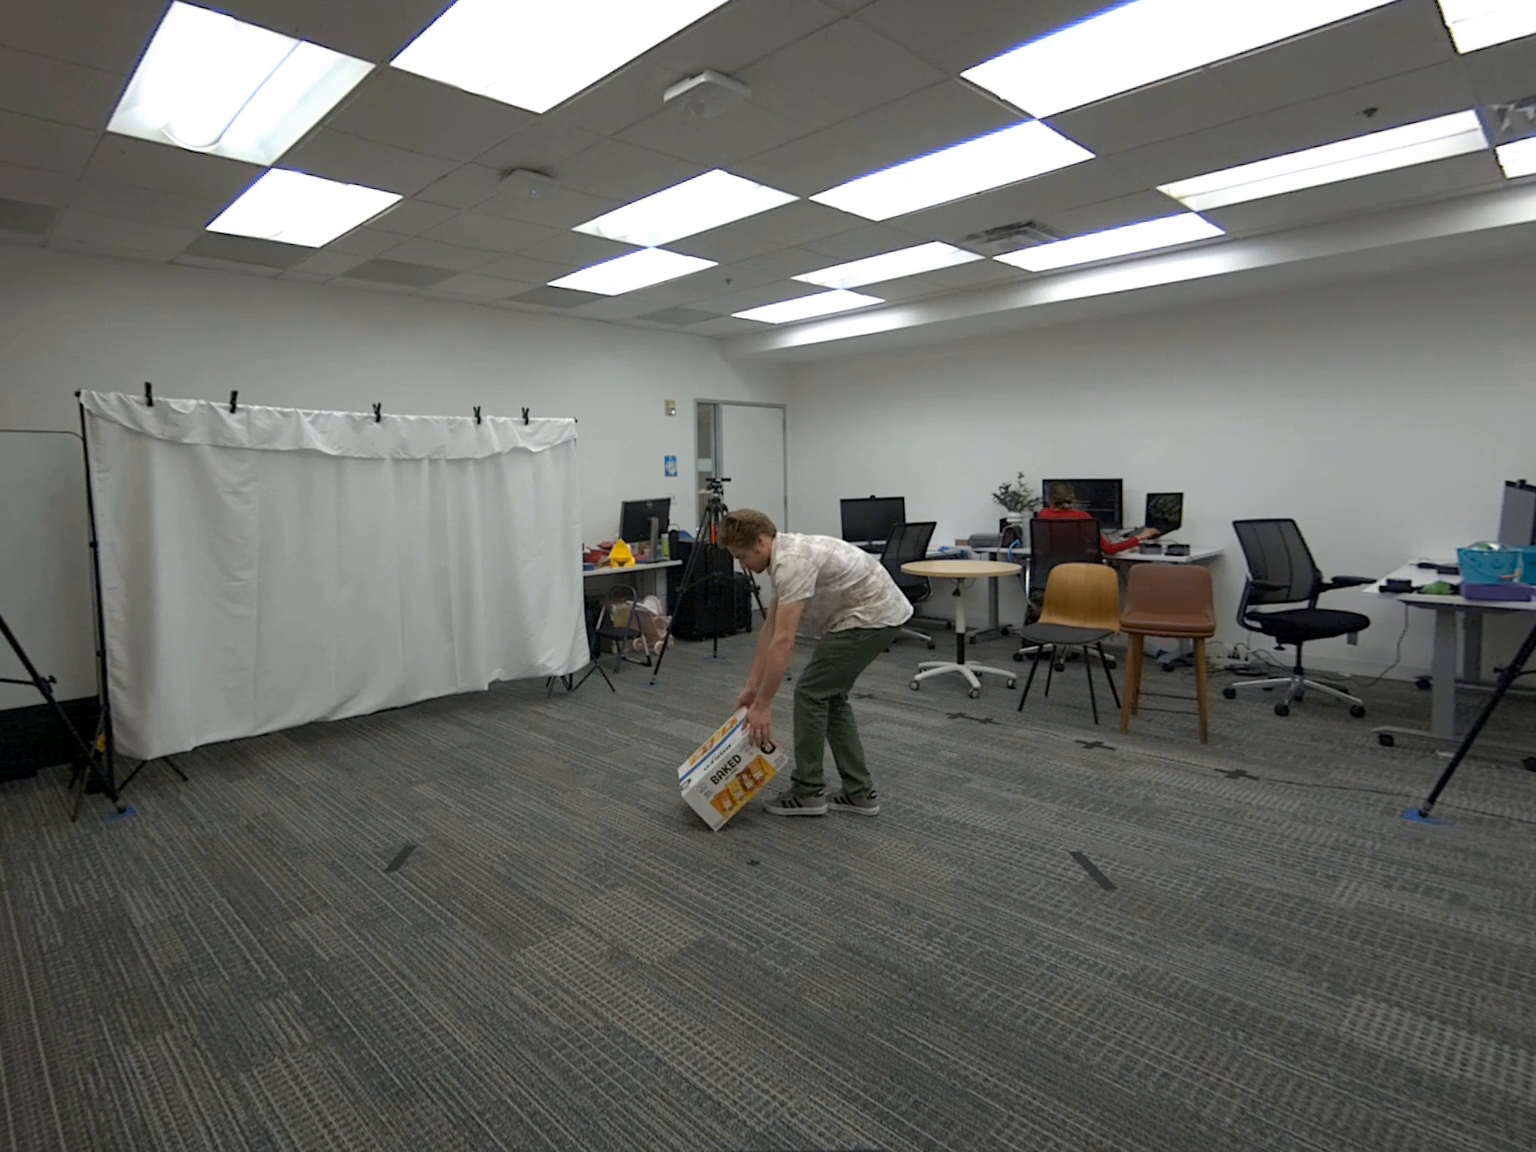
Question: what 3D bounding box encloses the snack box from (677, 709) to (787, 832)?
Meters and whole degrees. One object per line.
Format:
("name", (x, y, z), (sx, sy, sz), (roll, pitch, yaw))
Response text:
("snack box", (-0.150, 0.786, 3.544), (0.405, 0.204, 0.344), (-44, 9, -2))
